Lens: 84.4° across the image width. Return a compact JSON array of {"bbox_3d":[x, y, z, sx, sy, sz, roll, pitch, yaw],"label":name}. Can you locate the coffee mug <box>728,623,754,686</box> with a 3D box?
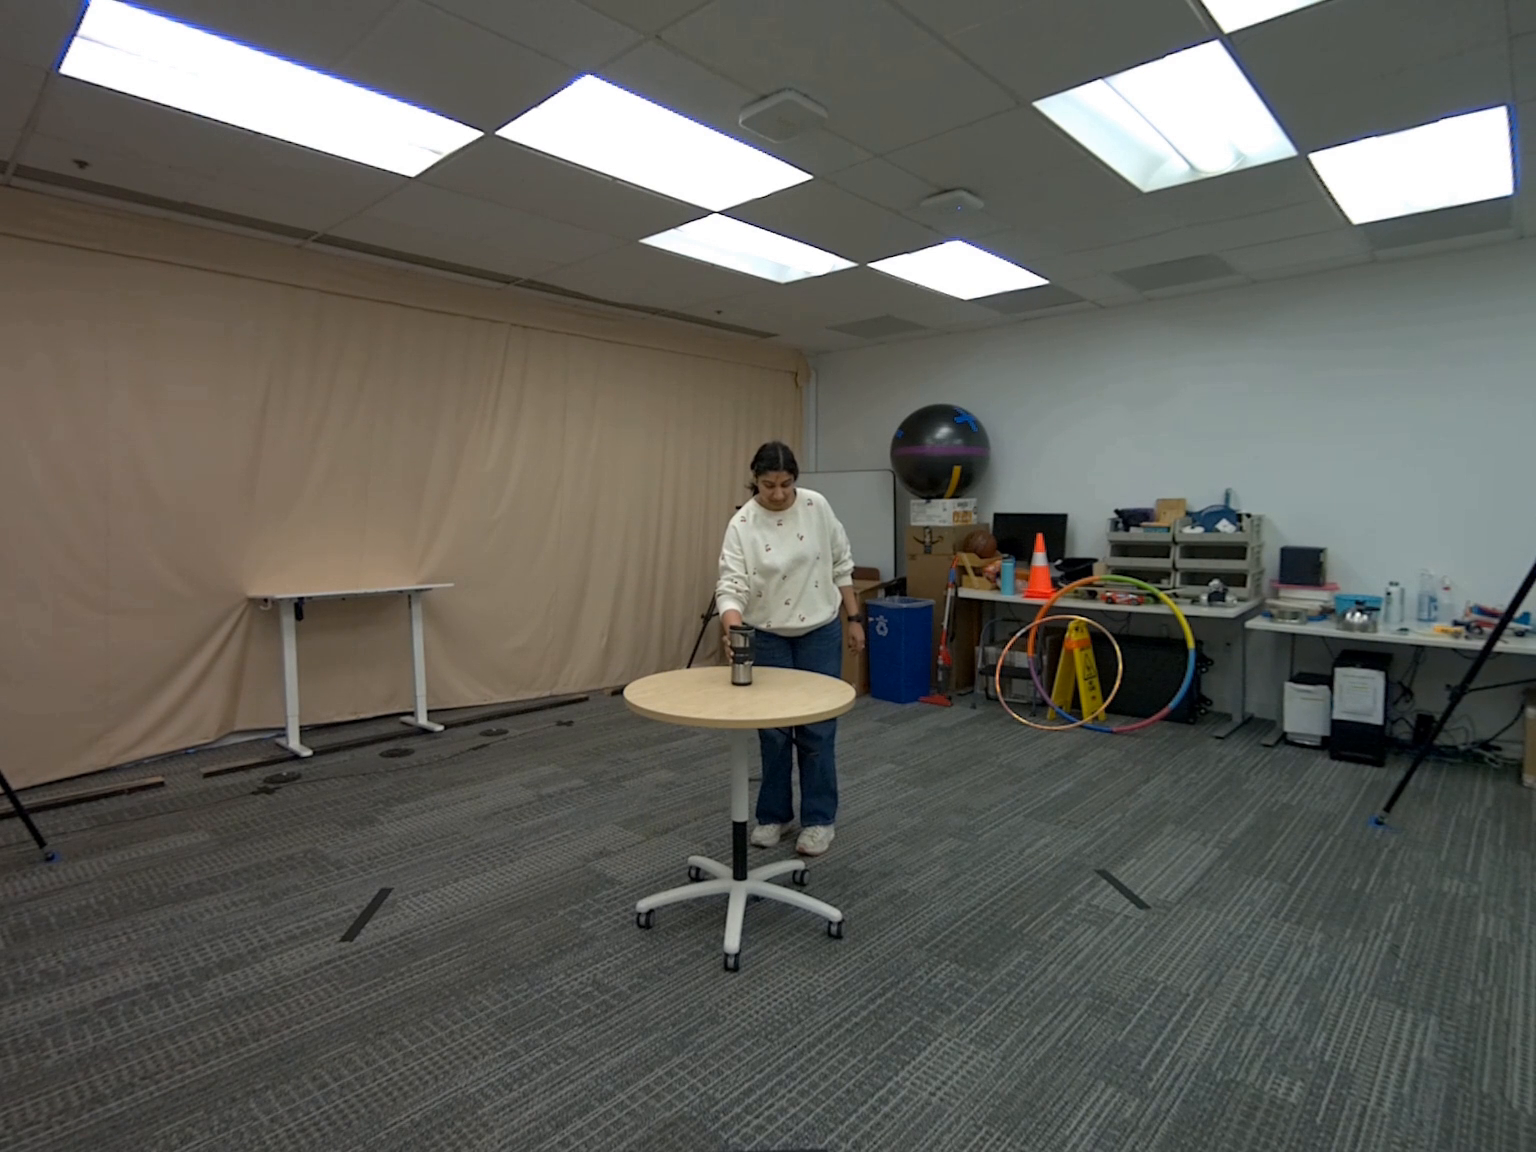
[{"bbox_3d":[-0.106,0.270,2.880,0.124,0.202,0.086,8,7,17],"label":"coffee mug"}]
